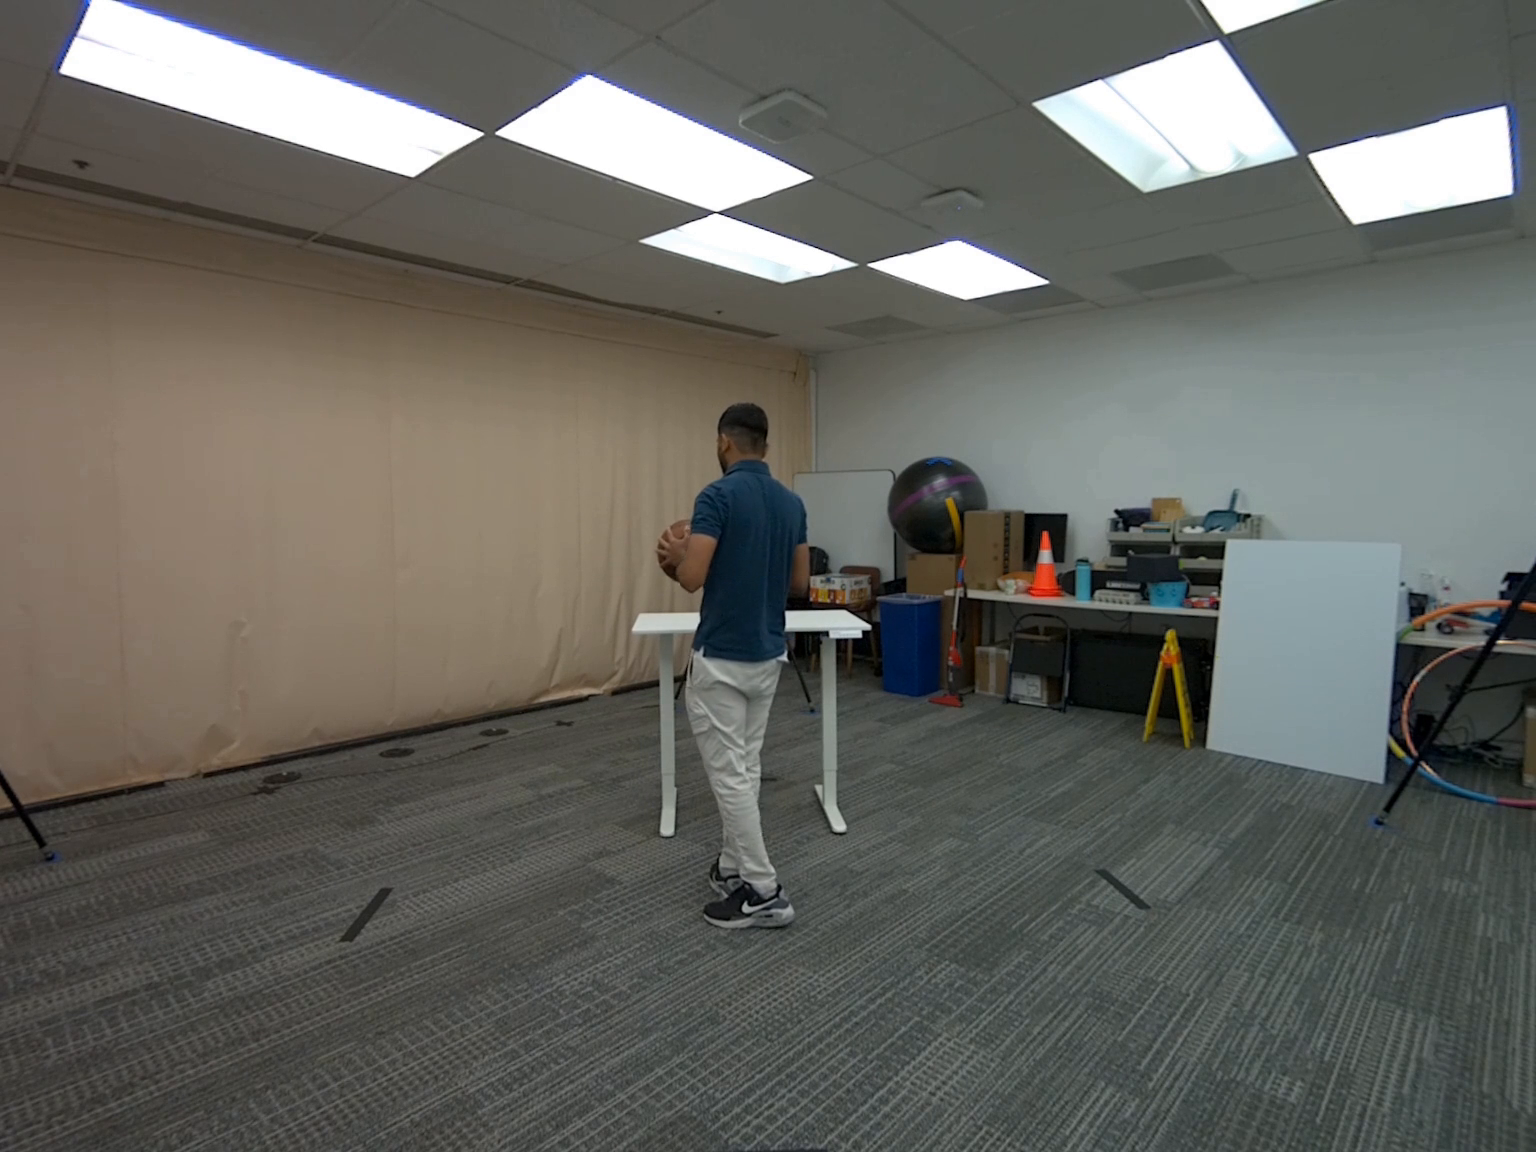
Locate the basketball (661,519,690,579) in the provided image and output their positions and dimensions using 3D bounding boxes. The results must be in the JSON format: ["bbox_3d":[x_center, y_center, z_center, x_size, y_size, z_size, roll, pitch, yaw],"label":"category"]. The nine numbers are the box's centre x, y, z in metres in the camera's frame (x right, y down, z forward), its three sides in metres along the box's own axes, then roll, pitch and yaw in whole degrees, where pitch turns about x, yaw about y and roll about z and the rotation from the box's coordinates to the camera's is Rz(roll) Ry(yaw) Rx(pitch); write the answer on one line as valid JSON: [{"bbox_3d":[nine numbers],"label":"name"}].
[{"bbox_3d":[-0.281,-0.090,3.069,0.236,0.235,0.237,0,4,-2],"label":"basketball"}]
